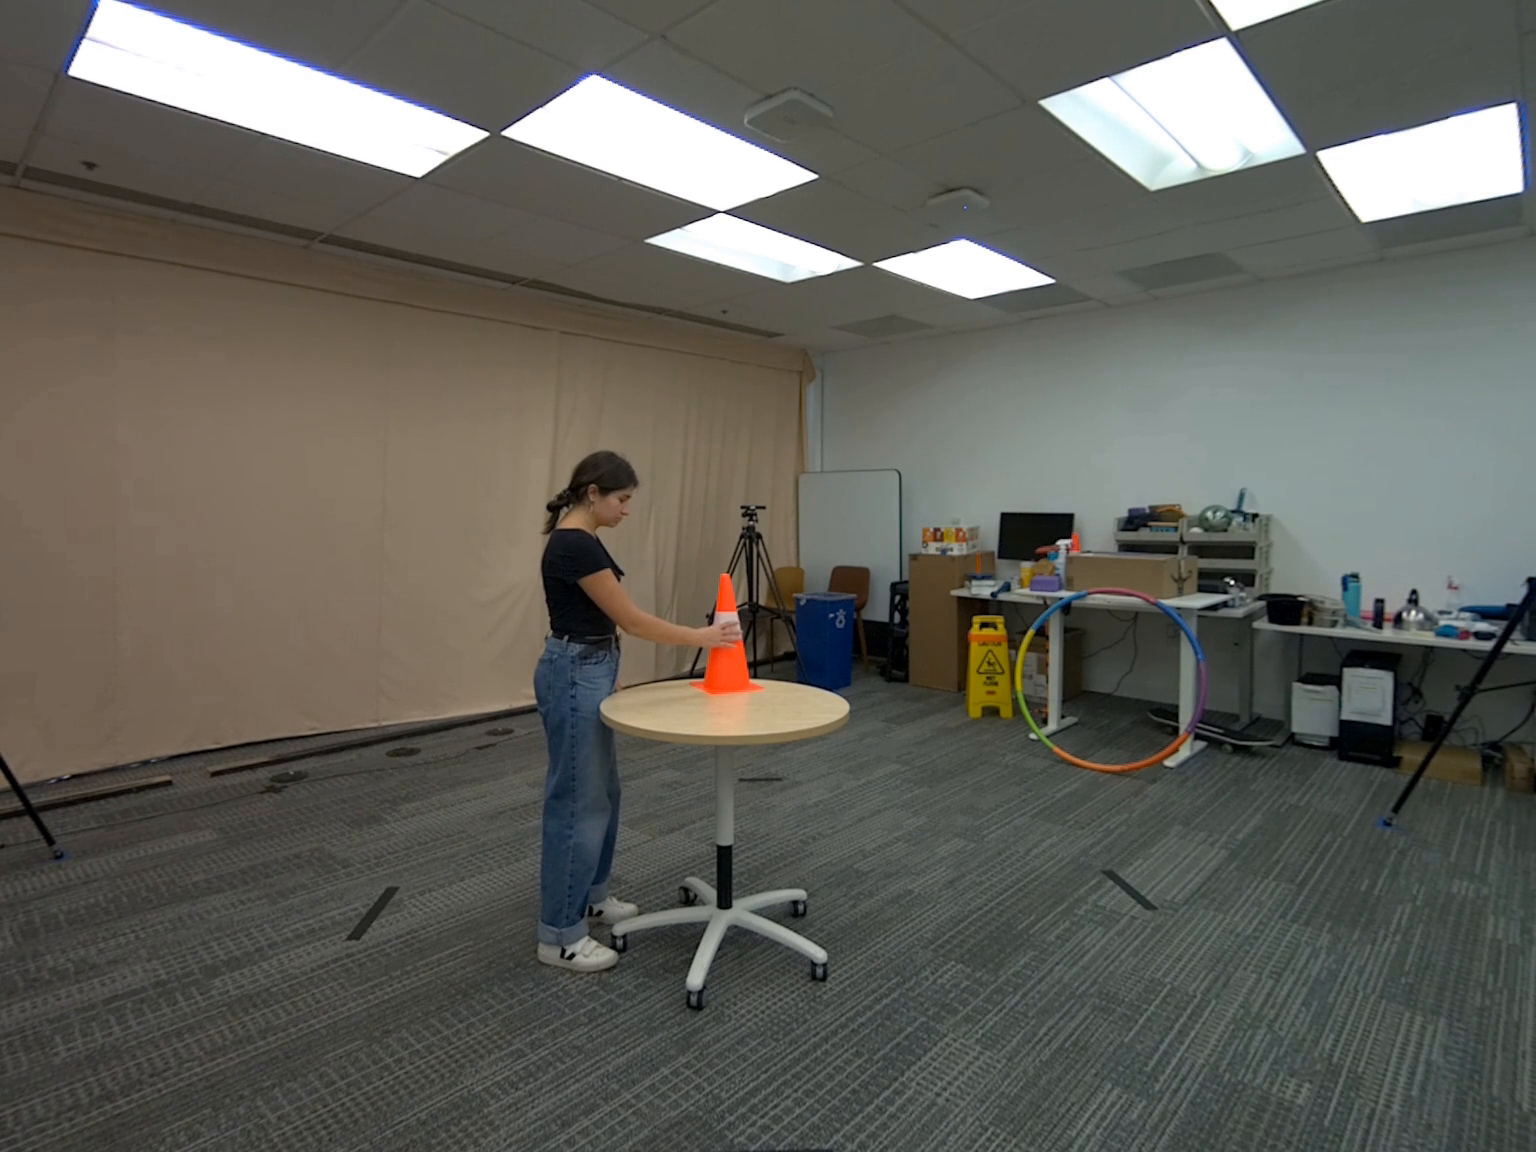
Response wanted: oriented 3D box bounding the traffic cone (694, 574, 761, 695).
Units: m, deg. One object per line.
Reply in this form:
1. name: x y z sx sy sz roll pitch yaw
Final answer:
1. traffic cone: -0.139 0.193 2.835 0.200 0.383 0.208 -3 3 -25
